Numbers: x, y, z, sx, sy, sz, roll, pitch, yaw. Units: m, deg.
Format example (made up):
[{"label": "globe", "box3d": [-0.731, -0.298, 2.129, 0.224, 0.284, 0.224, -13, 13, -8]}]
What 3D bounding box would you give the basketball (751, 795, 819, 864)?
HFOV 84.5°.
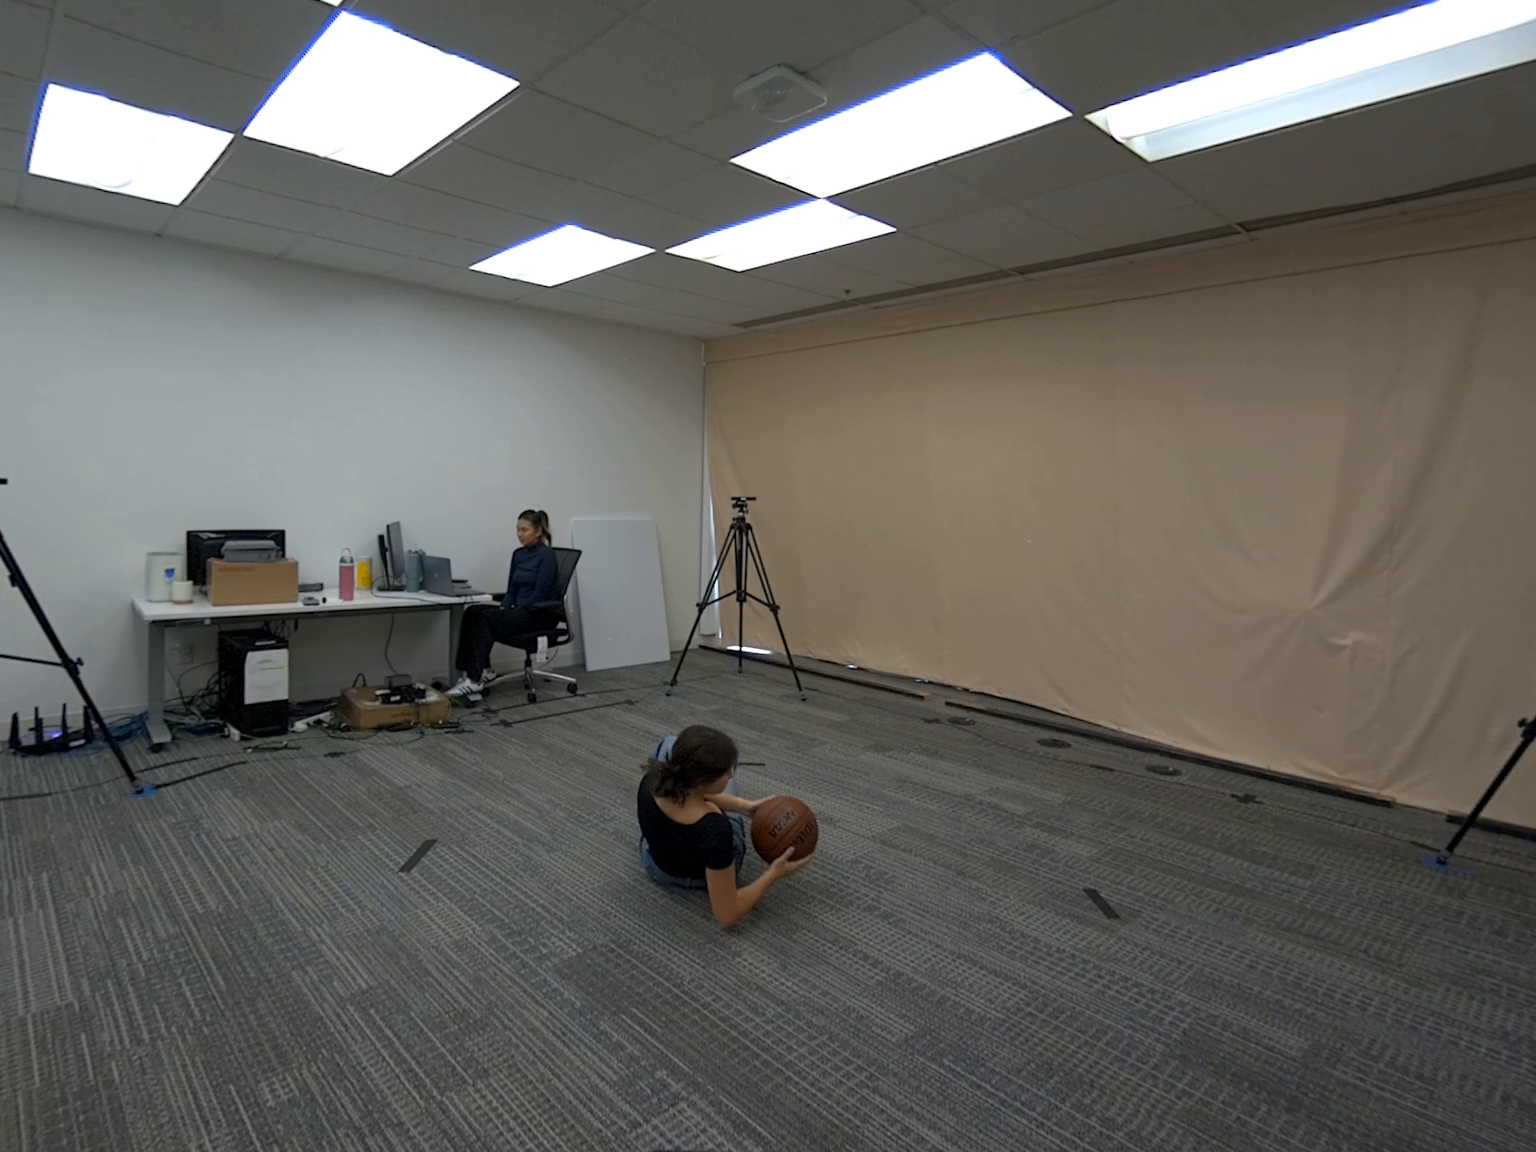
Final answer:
[{"label": "basketball", "box3d": [0.040, 0.888, 2.958, 0.236, 0.235, 0.237, 1, 4, -1]}]
